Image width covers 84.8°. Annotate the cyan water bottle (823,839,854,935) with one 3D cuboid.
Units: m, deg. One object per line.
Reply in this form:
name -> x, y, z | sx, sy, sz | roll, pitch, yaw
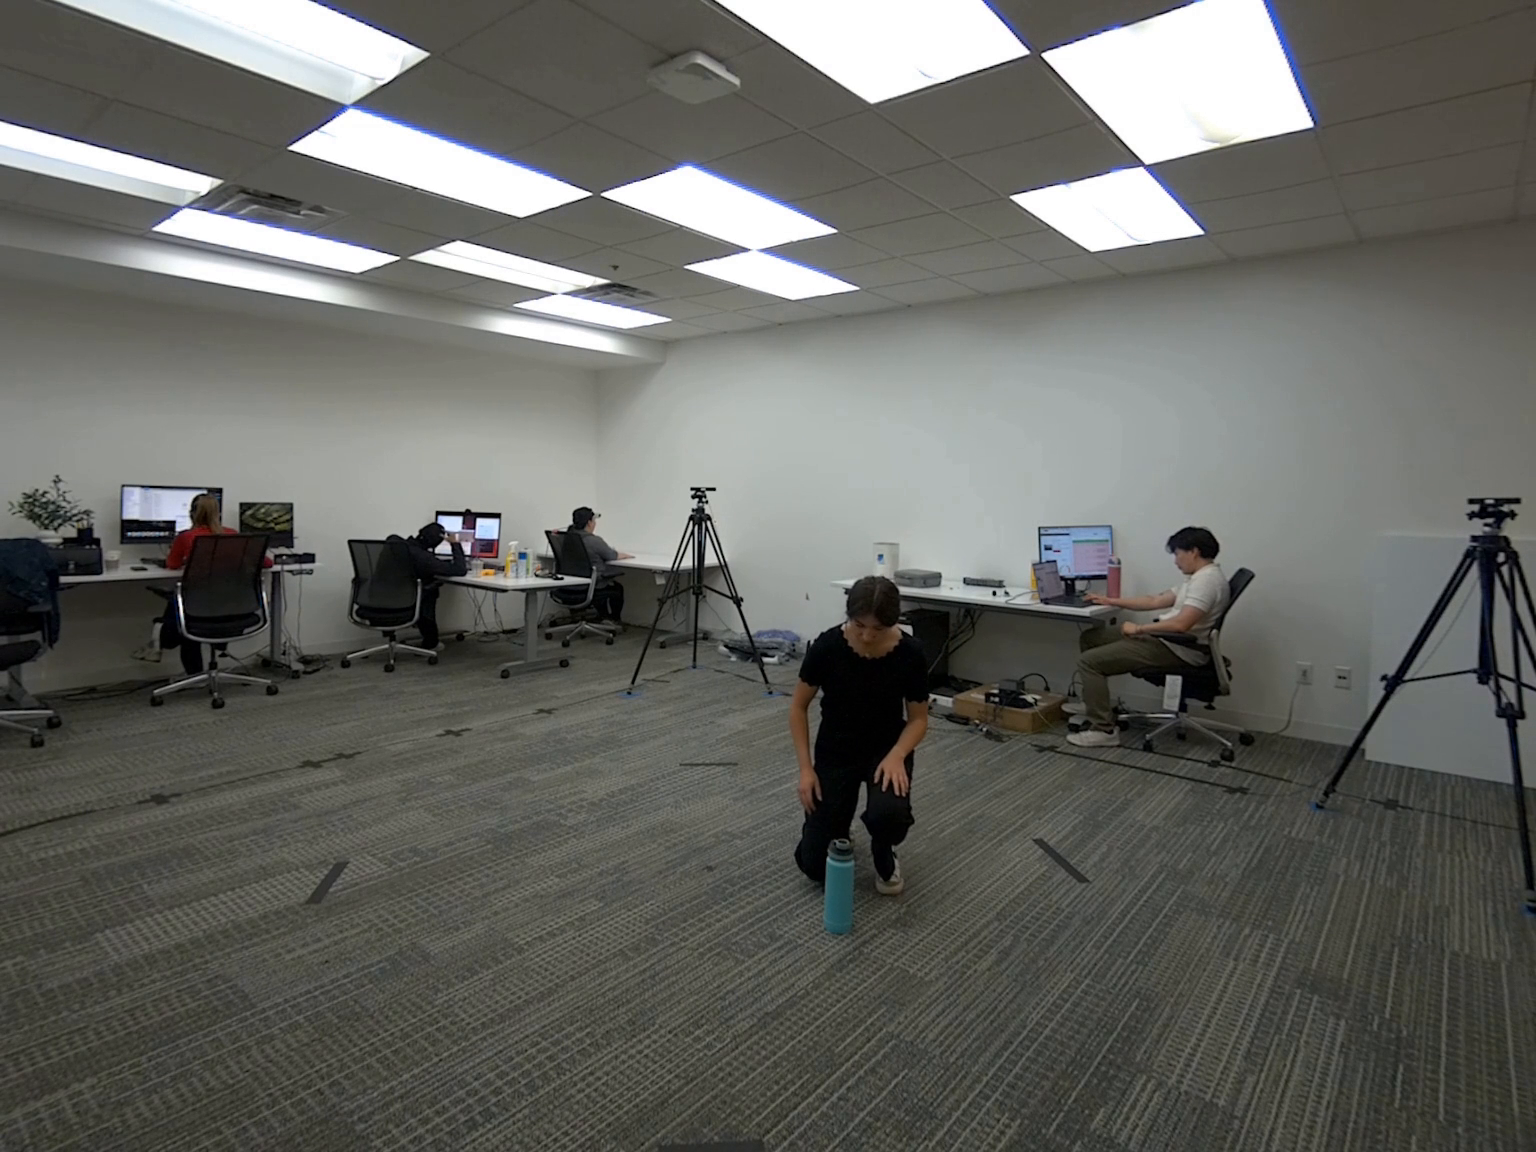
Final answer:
cyan water bottle -> 0.226, 0.976, 2.709 | 0.092, 0.283, 0.093 | 3, 3, -2
